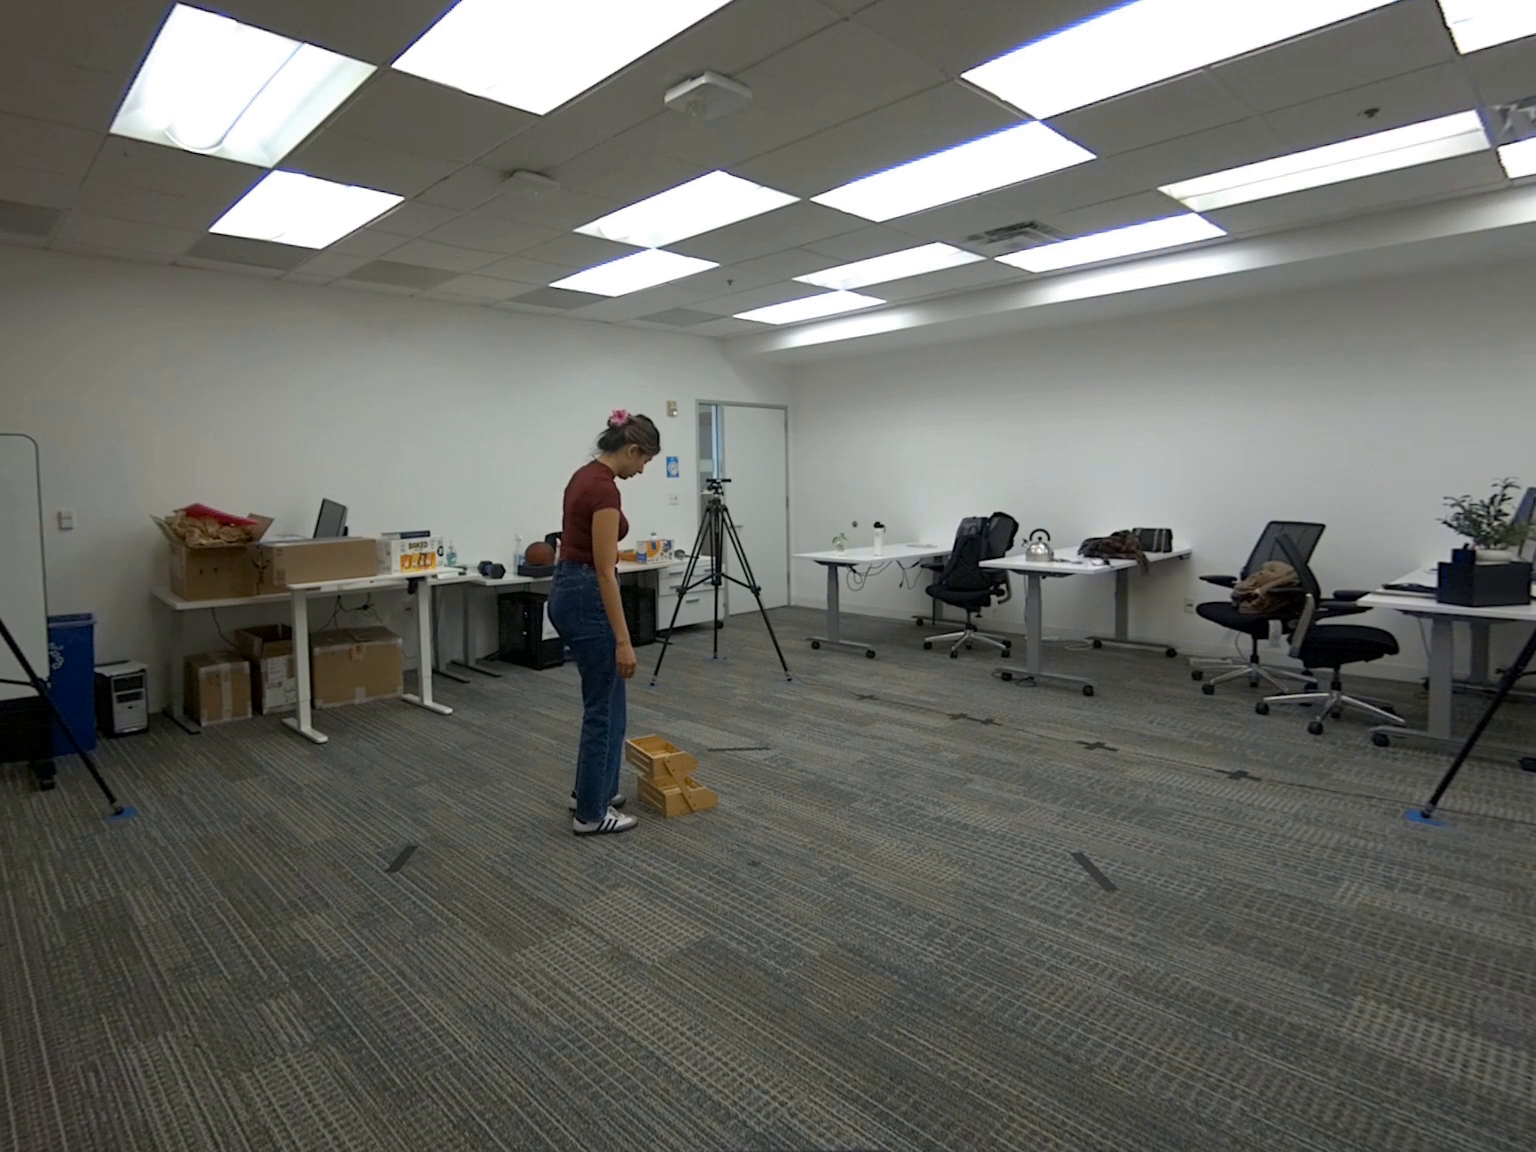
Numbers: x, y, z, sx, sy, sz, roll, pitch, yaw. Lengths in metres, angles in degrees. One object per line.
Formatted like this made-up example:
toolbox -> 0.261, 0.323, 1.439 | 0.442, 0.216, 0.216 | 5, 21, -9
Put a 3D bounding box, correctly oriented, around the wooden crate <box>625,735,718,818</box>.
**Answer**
wooden crate -> -0.421, 0.846, 3.717 | 0.295, 0.272, 0.333 | -5, 7, -30
